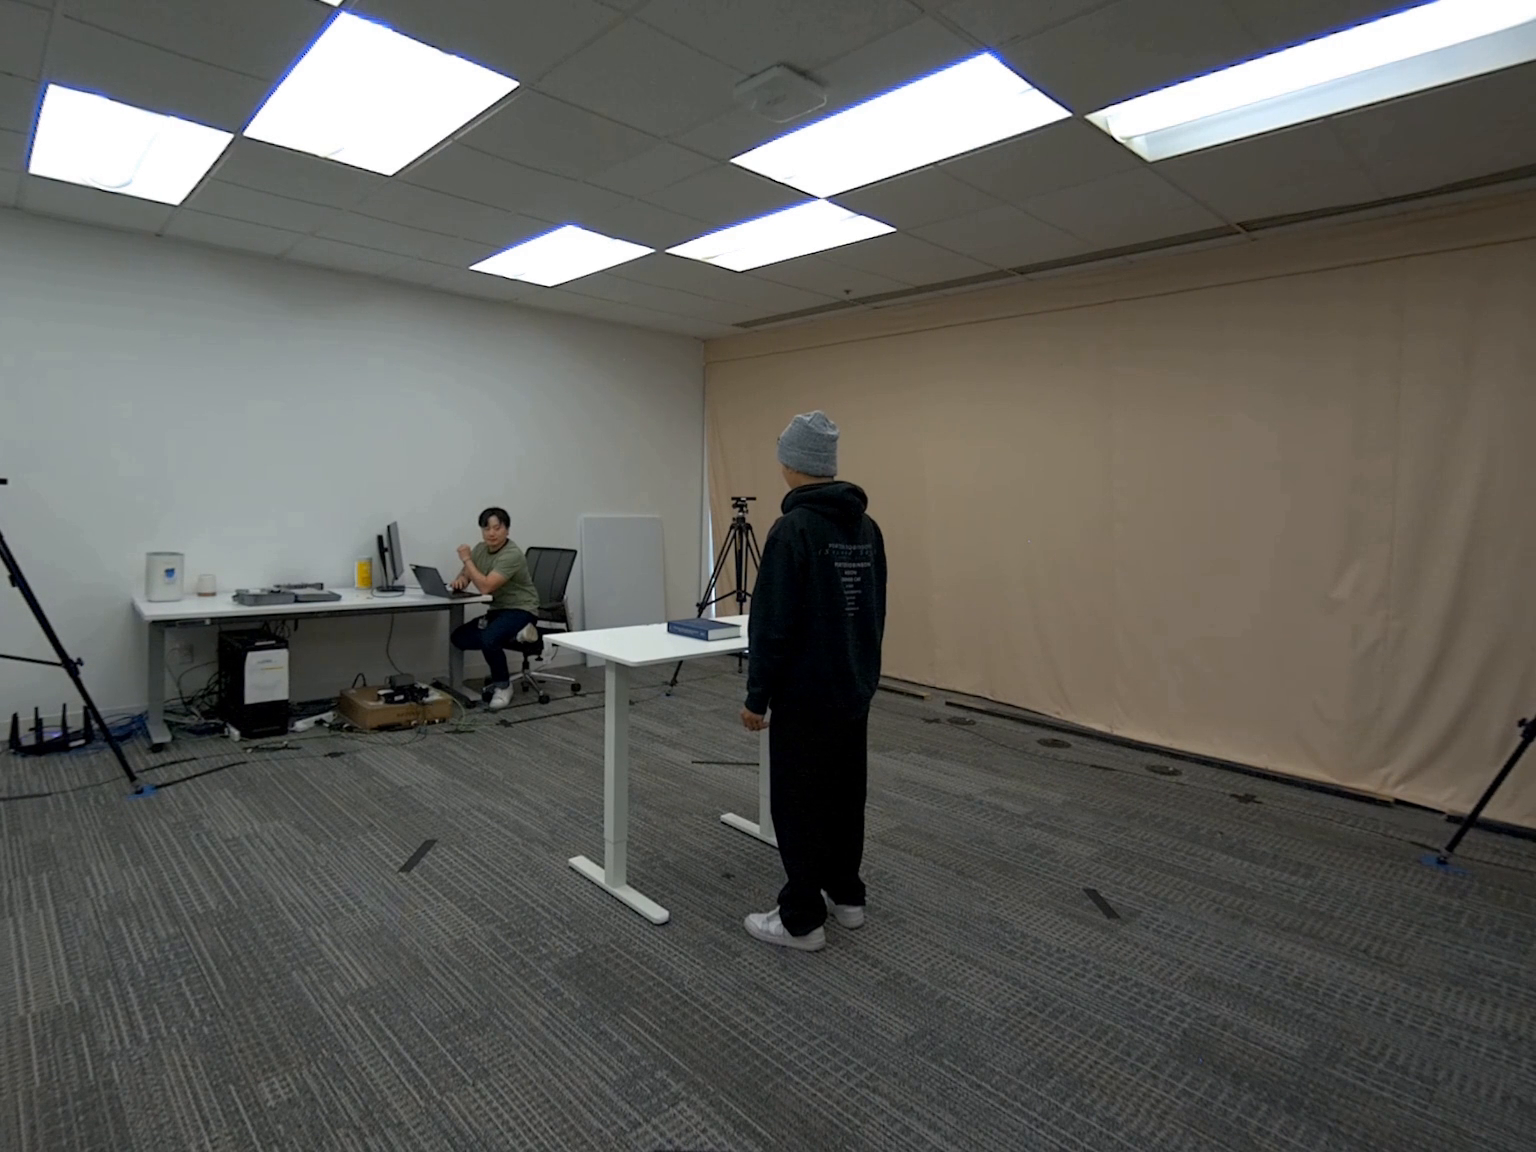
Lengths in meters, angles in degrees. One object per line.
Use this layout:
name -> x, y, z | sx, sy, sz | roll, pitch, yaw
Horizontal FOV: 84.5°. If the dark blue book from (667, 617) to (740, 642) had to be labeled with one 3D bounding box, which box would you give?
dark blue book -> -0.255, 0.201, 3.133 | 0.160, 0.045, 0.251 | -4, 7, -42
